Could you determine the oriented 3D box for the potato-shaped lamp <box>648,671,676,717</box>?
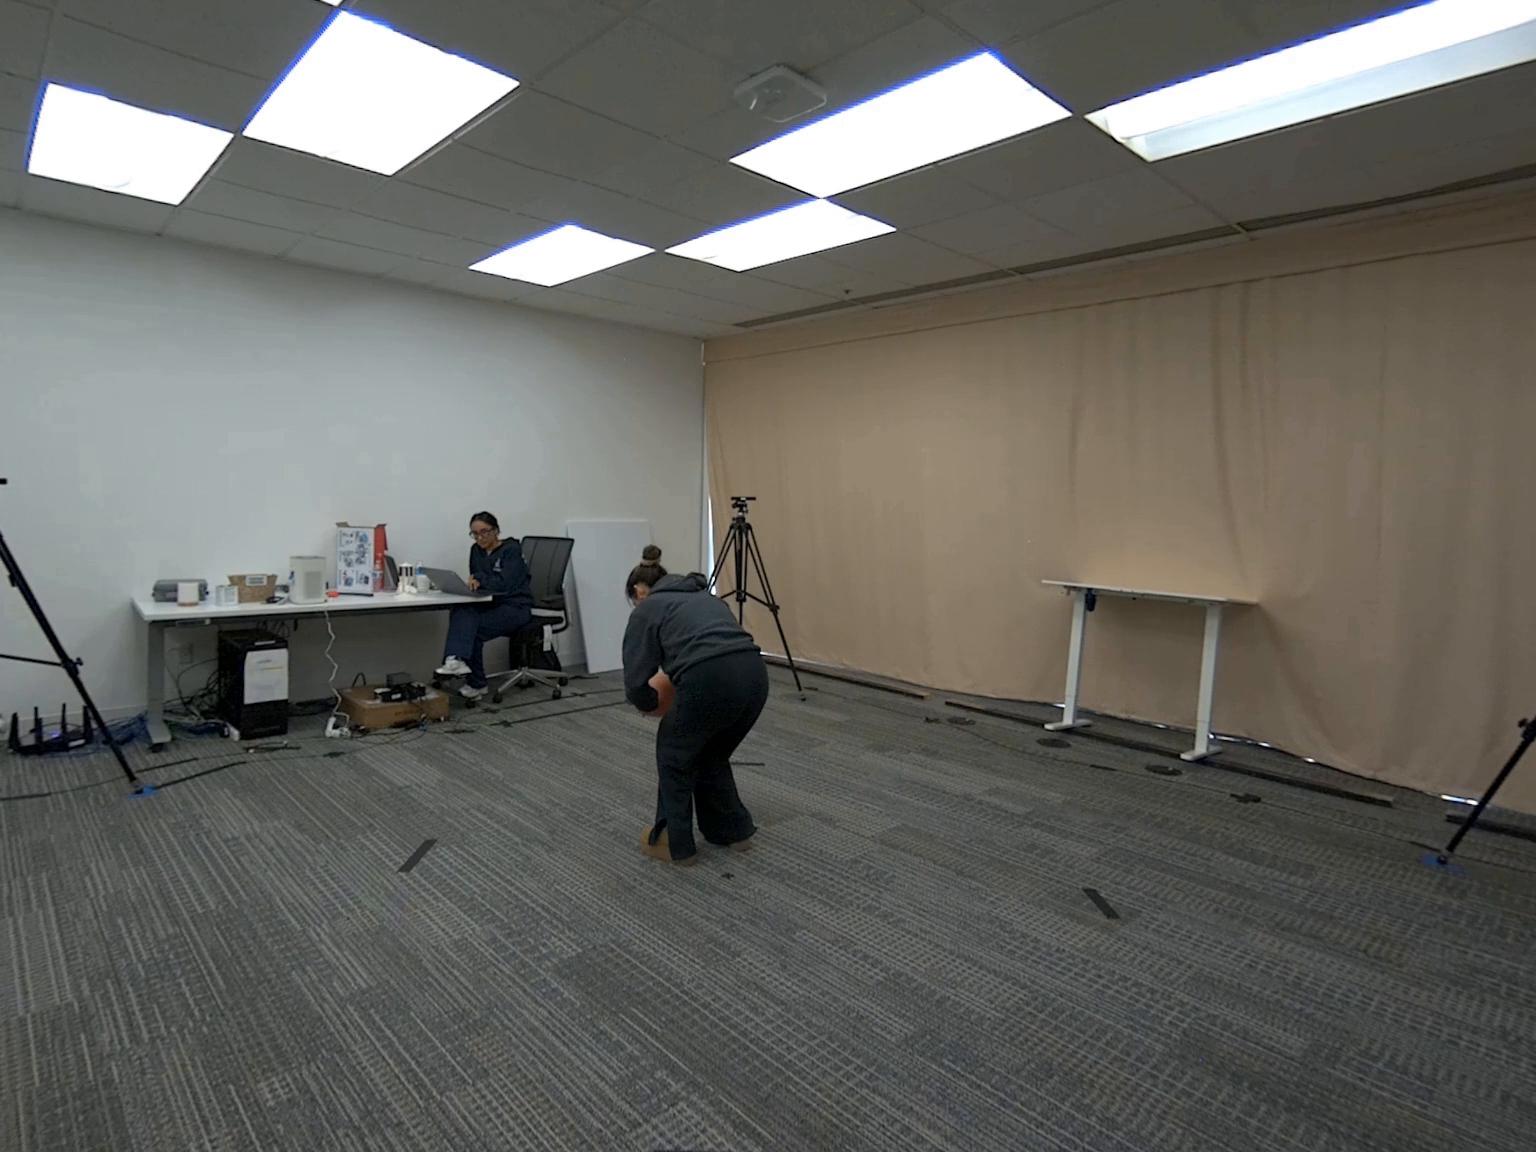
[{"bbox_3d":[-0.471,0.498,3.570,0.160,0.198,0.175,4,-1,-41],"label":"potato-shaped lamp"}]
